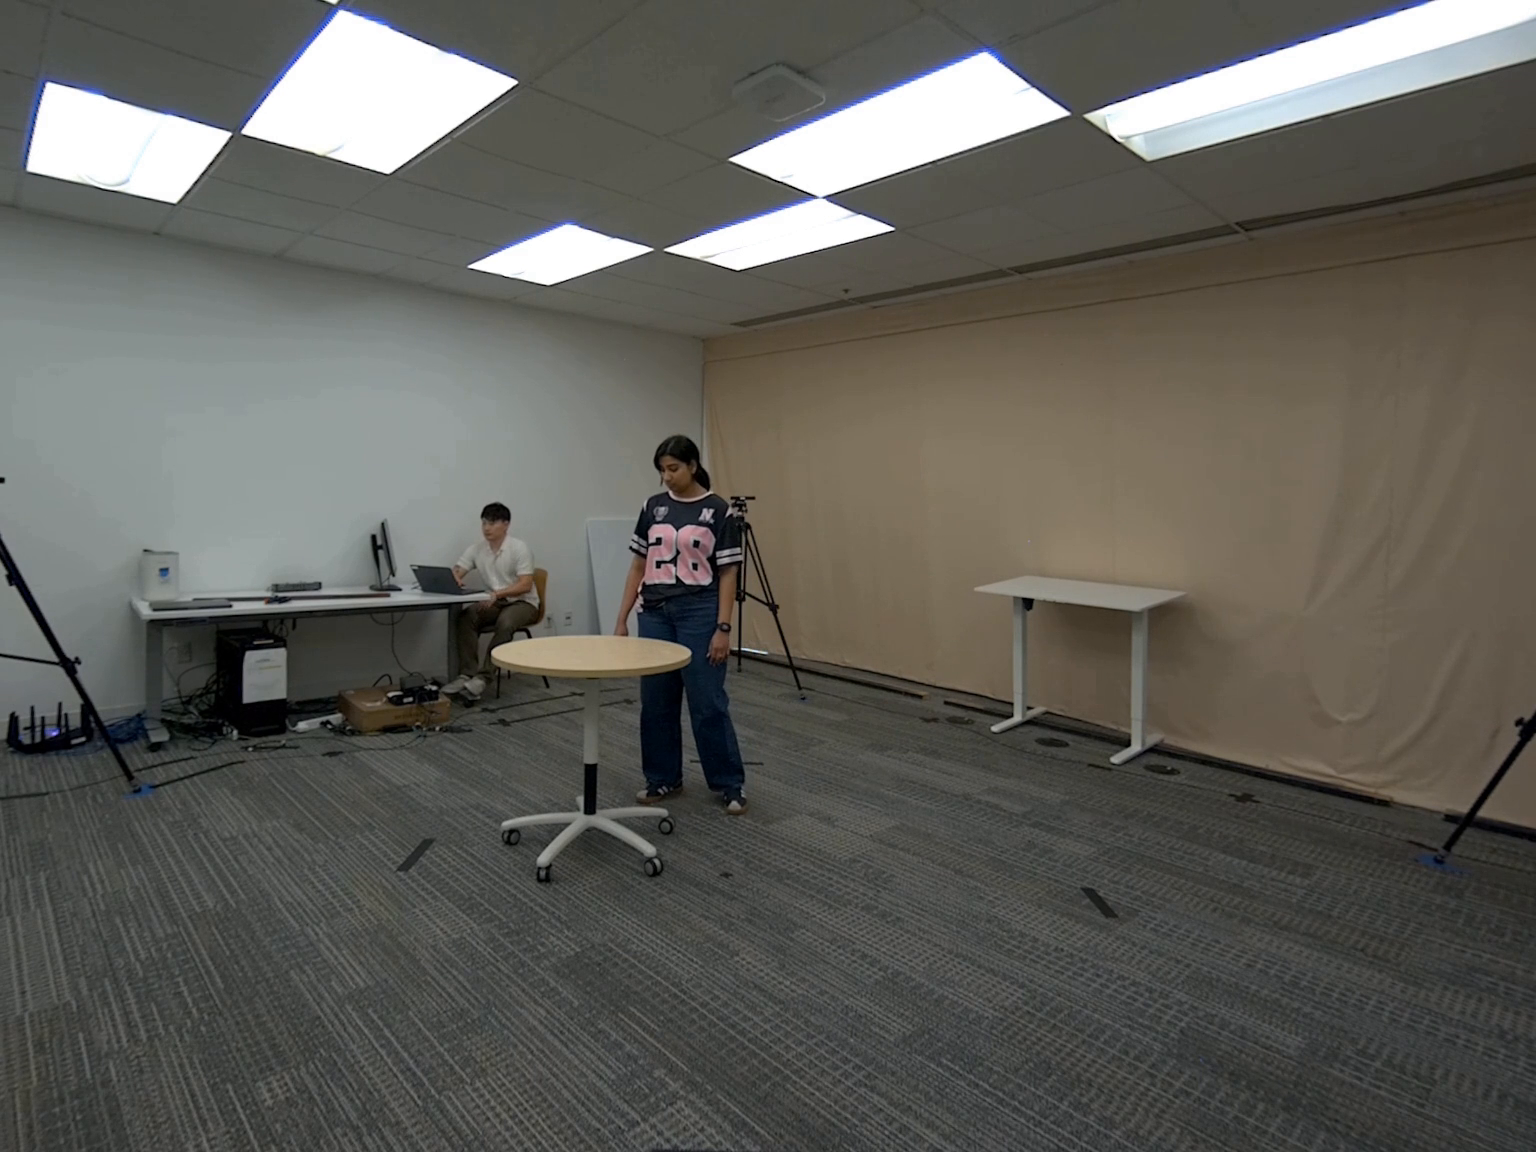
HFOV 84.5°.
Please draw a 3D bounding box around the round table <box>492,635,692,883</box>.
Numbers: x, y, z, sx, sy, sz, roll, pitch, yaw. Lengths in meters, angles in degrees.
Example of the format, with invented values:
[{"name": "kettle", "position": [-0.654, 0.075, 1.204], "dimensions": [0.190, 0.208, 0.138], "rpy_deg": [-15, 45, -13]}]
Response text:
[{"name": "round table", "position": [-0.705, 0.689, 3.293], "dimensions": [0.763, 0.792, 0.766], "rpy_deg": [2, 4, -1]}]
